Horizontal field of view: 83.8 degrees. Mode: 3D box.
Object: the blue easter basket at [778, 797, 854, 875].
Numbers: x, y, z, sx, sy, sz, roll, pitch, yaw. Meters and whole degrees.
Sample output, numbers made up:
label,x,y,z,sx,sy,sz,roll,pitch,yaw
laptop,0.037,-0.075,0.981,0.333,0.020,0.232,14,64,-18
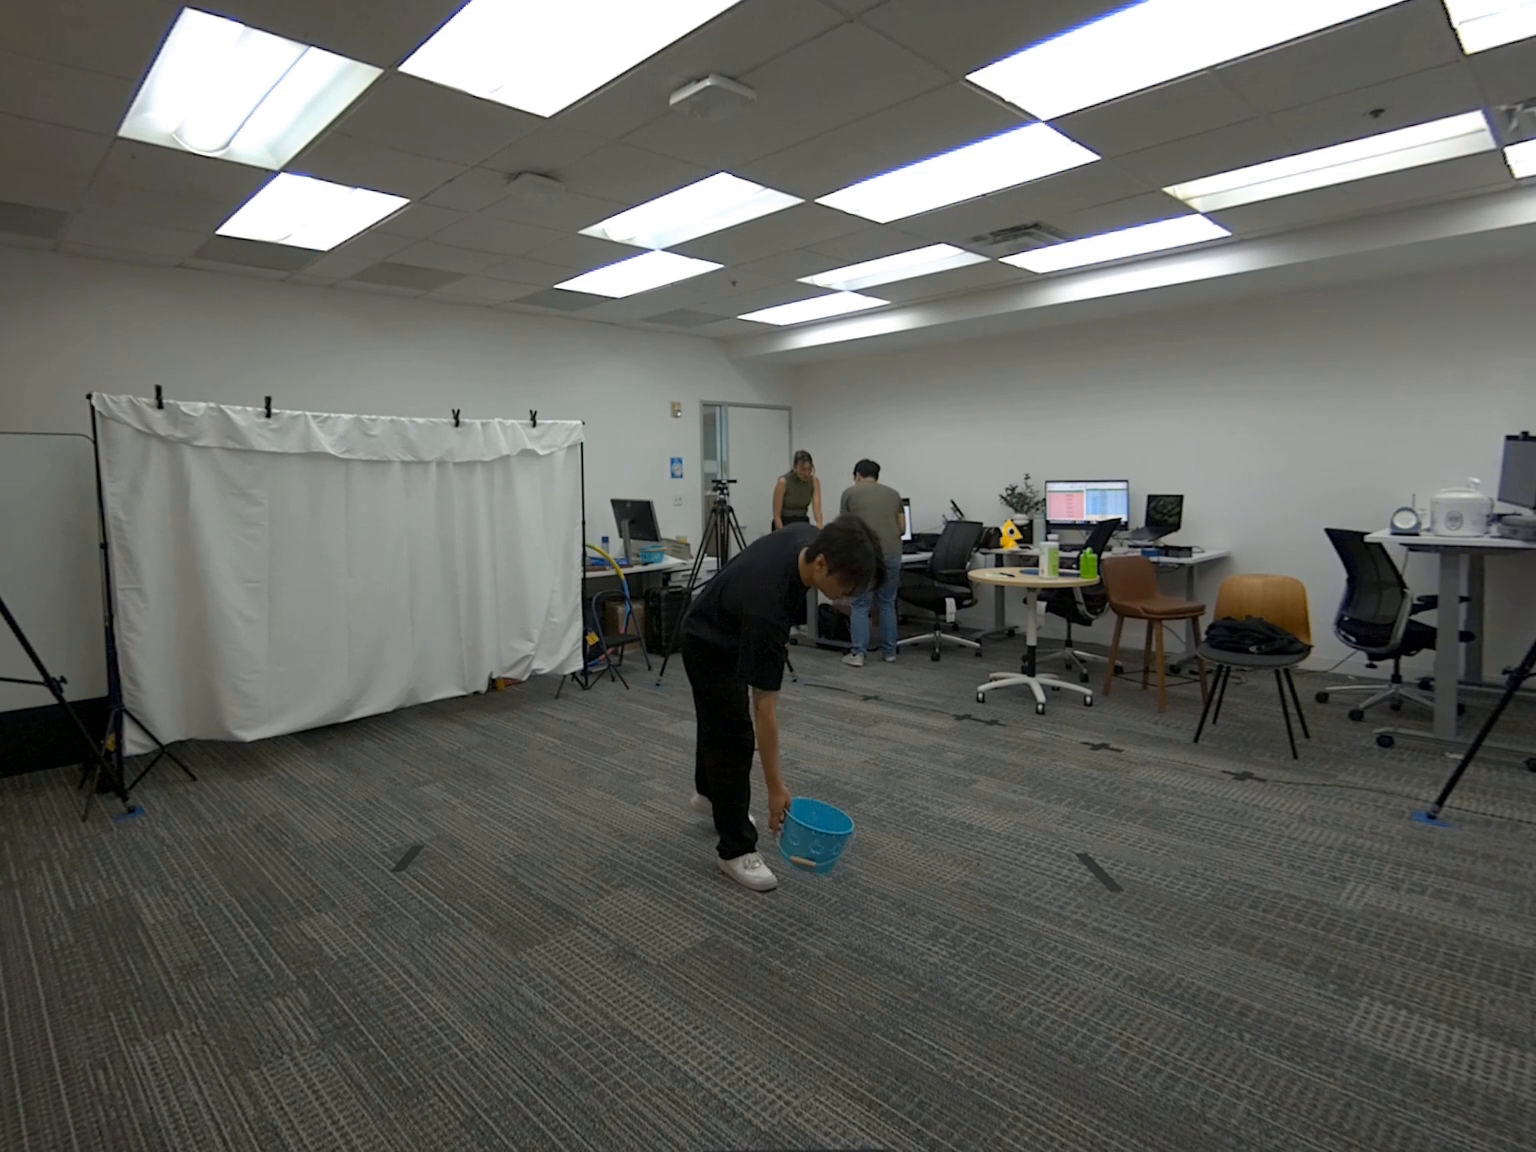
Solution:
label,x,y,z,sx,sy,sz,roll,pitch,yaw
blue easter basket,0.145,0.824,2.689,0.243,0.155,0.245,13,6,-3
